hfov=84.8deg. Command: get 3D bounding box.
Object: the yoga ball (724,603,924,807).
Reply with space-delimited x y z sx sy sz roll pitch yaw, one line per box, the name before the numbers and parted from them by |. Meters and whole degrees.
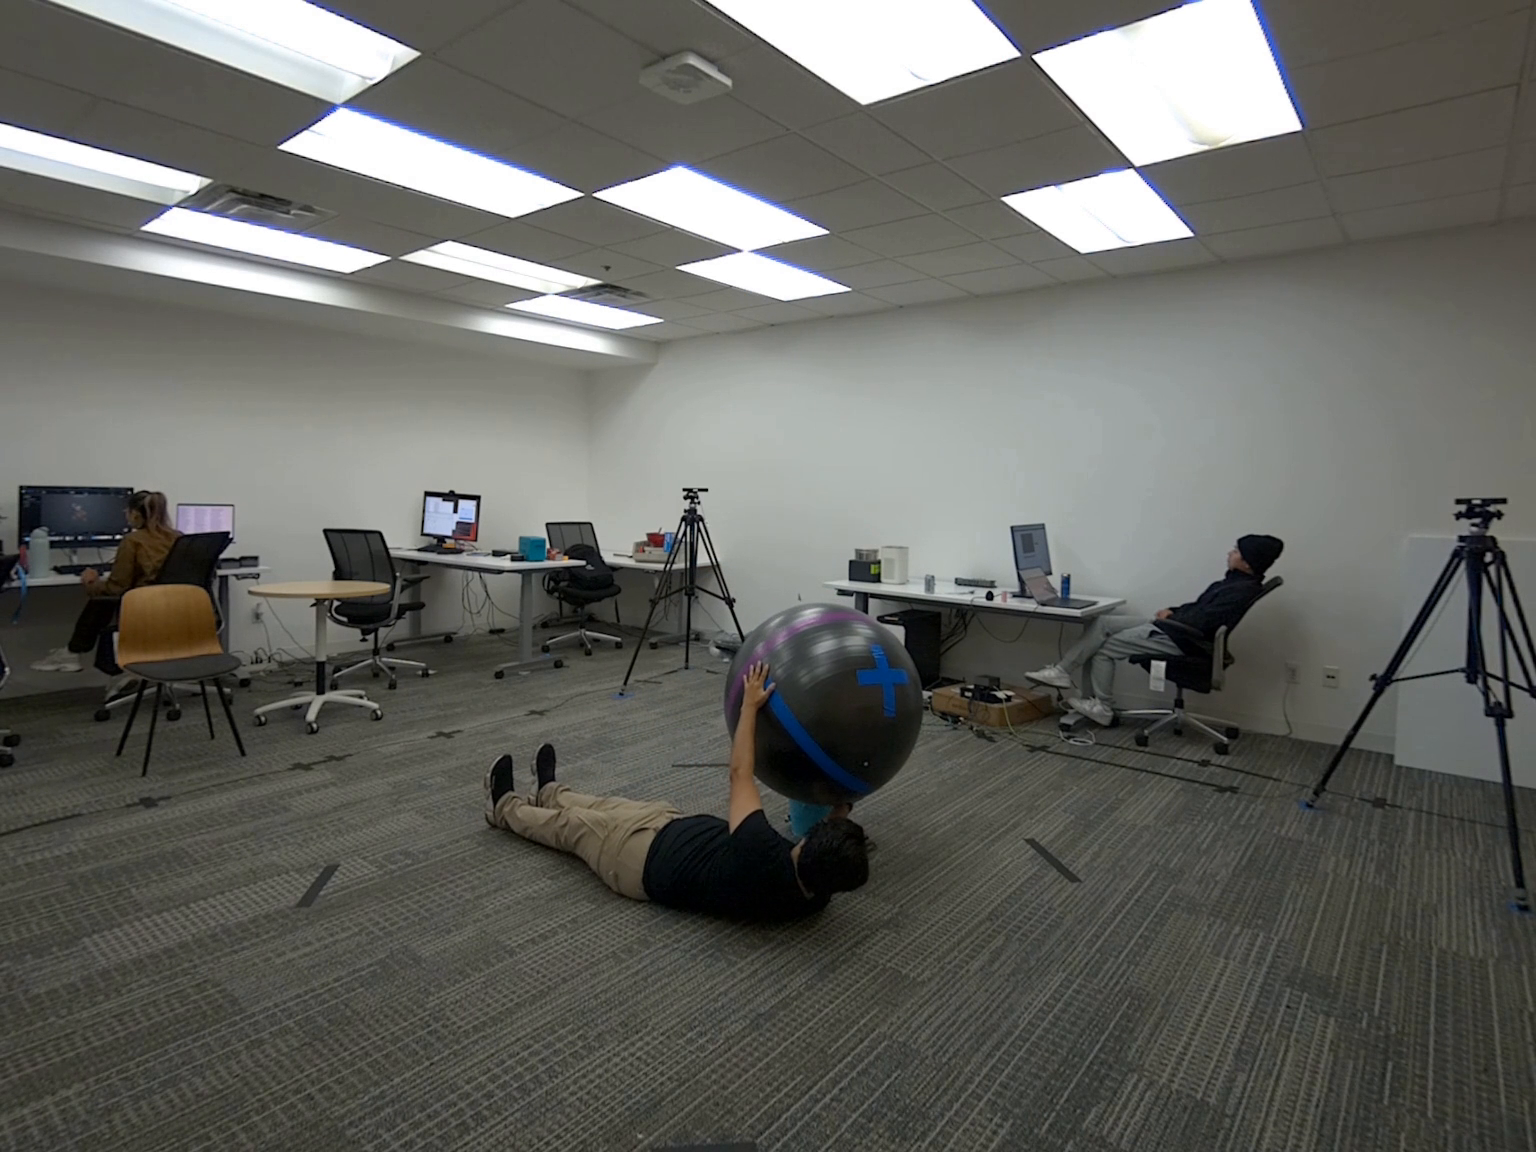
yoga ball | 0.202 0.481 3.279 0.757 0.756 0.761 0 4 -2
